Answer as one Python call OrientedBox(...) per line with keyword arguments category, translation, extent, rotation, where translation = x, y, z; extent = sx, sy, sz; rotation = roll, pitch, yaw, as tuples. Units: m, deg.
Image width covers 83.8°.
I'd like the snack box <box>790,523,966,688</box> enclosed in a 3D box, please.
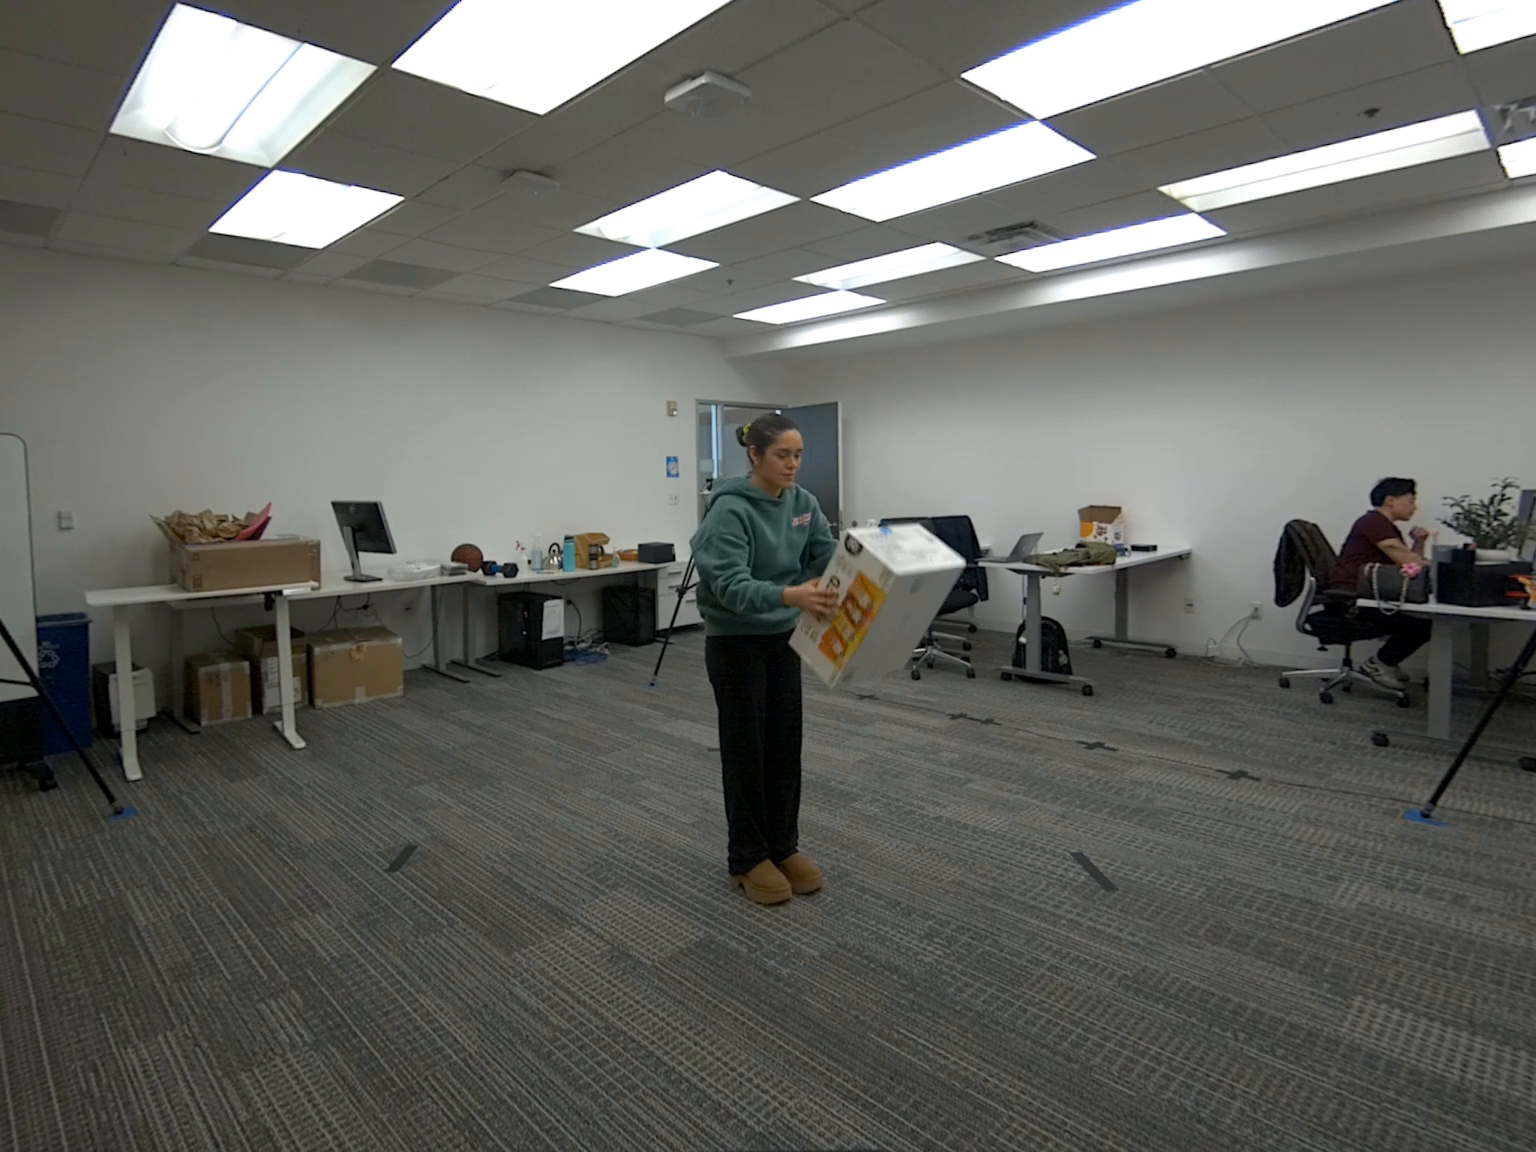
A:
OrientedBox(category="snack box", translation=(0.305, 0.081, 2.481), extent=(0.331, 0.401, 0.213), rotation=(-6, 40, -44))
